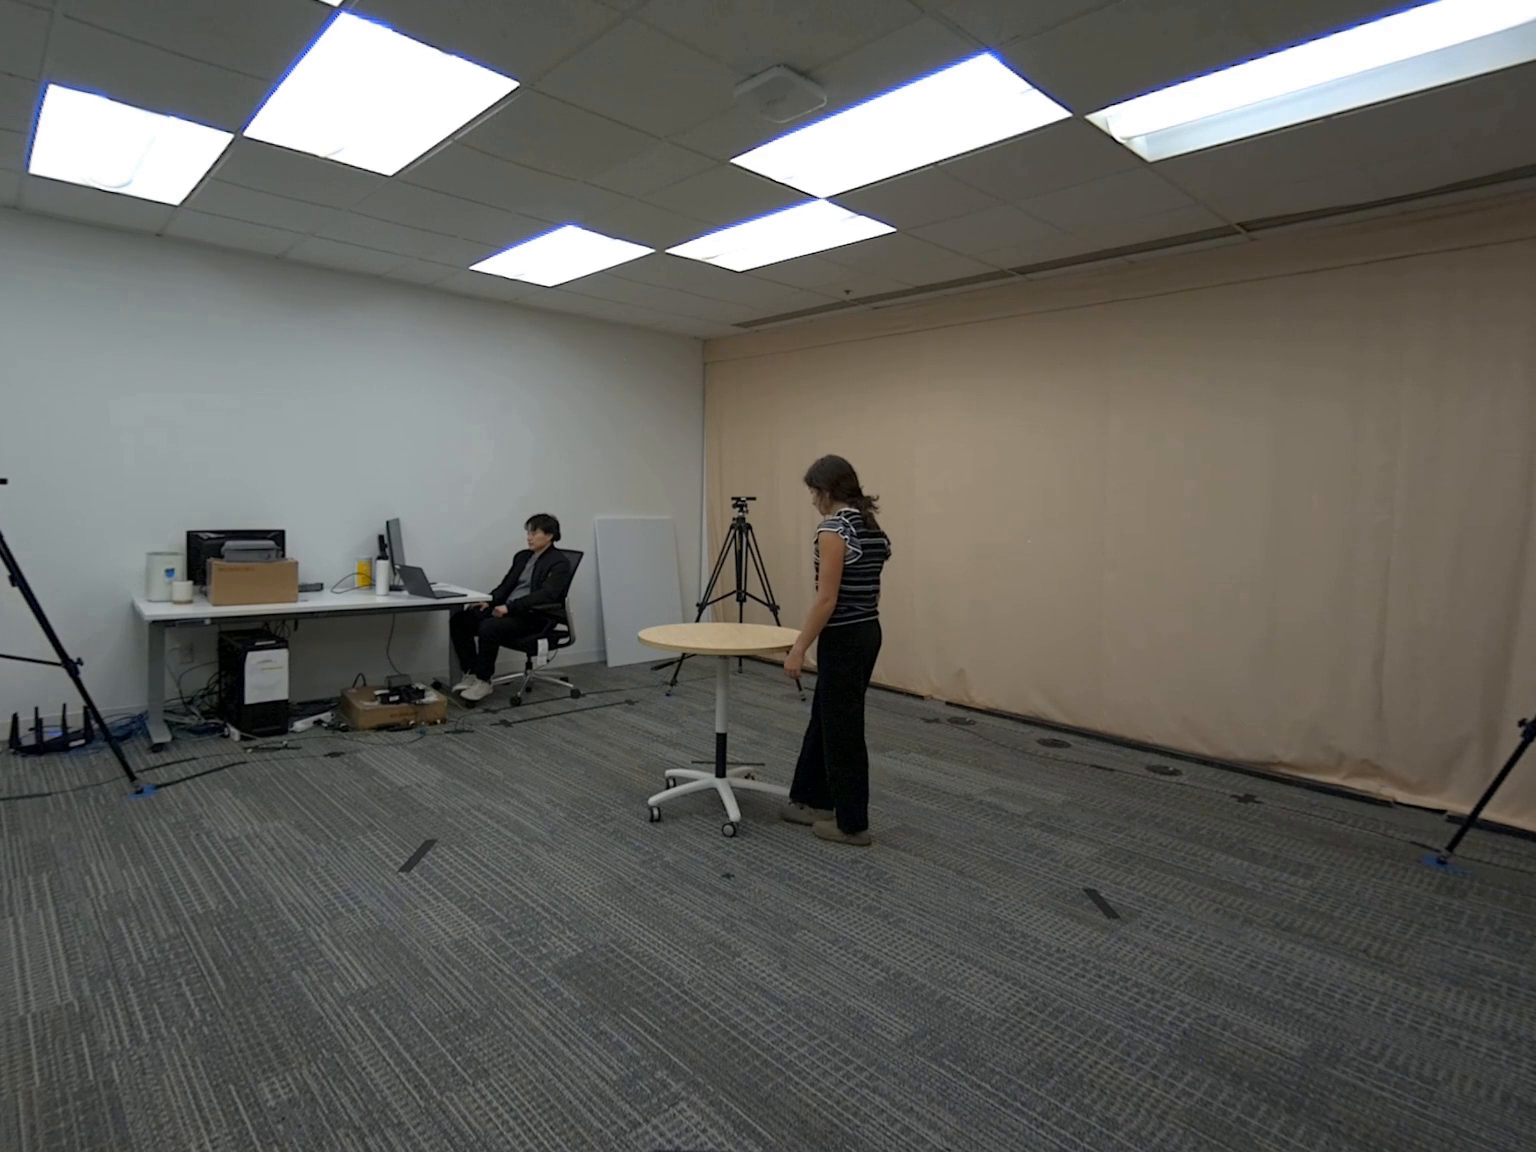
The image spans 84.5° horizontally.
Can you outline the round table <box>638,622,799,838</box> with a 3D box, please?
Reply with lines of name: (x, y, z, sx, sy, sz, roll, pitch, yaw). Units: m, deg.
round table: (-0.227, 0.656, 3.788, 0.763, 0.792, 0.766, 2, 3, -1)
